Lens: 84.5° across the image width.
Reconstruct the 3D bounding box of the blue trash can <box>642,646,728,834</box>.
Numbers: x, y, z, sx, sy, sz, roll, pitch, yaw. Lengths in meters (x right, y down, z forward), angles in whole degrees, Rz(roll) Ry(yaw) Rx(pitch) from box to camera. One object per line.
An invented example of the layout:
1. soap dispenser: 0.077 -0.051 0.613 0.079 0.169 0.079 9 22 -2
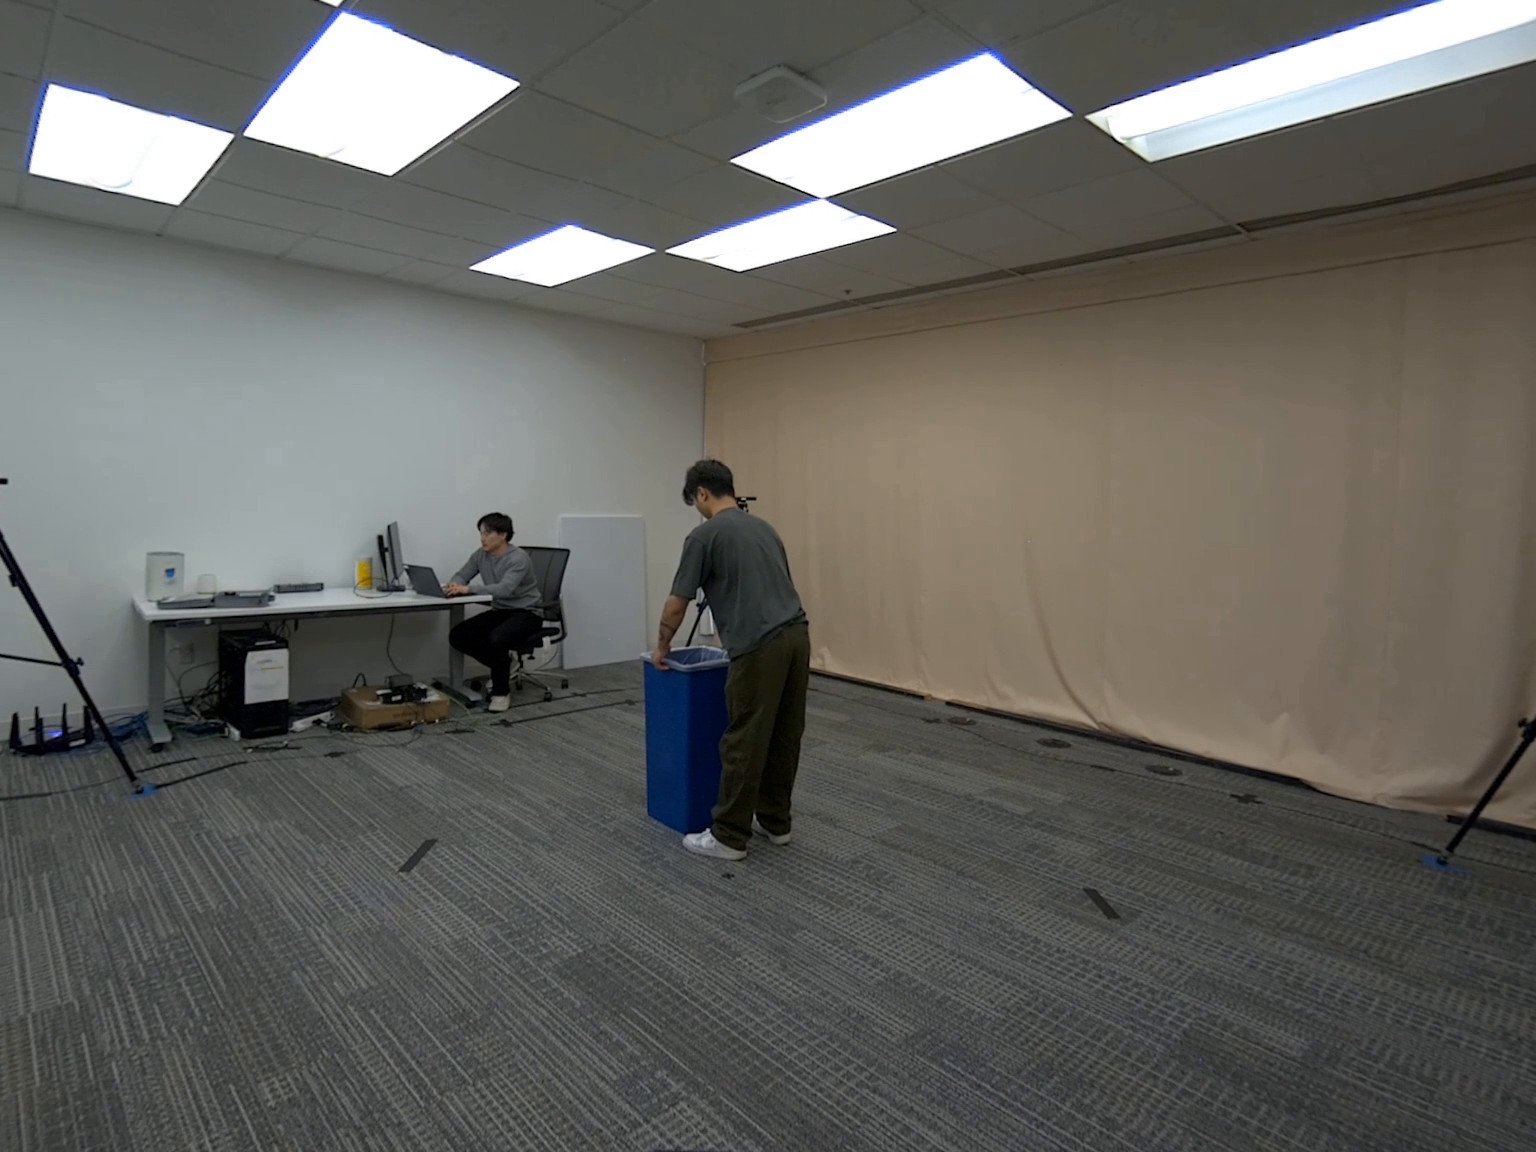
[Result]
1. blue trash can: -0.328 0.694 3.651 0.365 0.712 0.387 -1 3 -41
